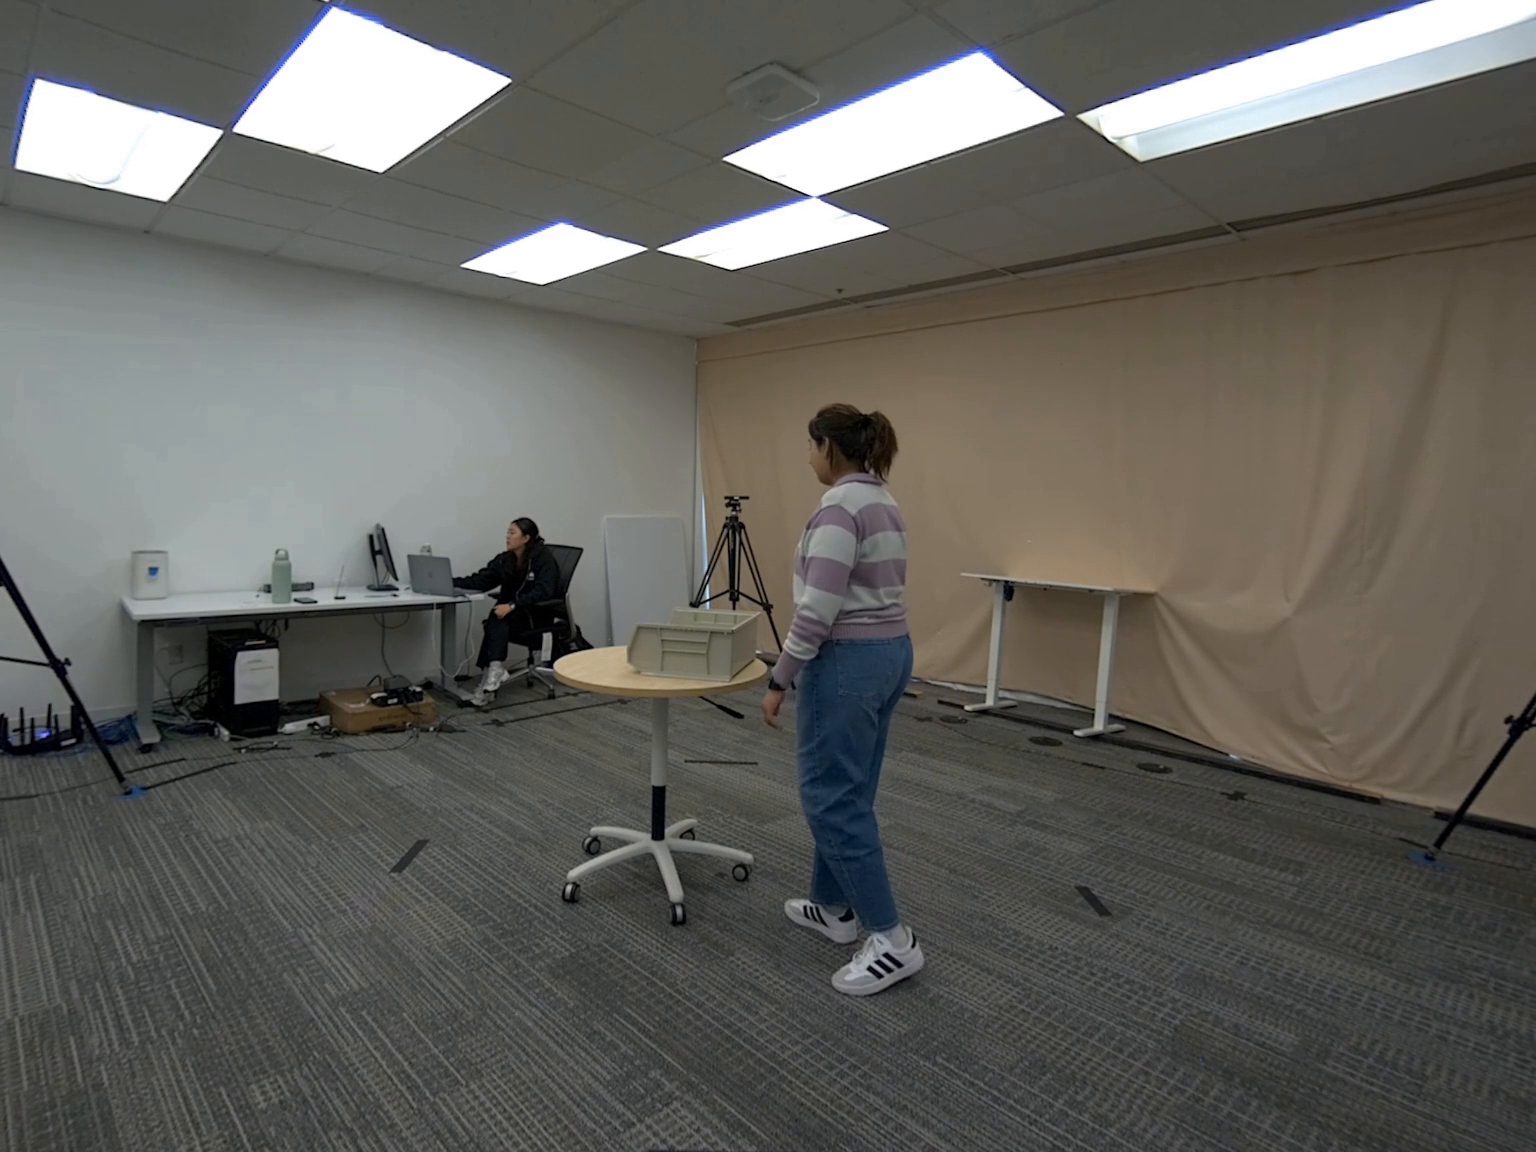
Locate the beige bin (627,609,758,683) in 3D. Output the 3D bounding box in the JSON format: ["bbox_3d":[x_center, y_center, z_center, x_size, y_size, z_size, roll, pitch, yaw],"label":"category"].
[{"bbox_3d":[-0.279,0.238,3.014,0.382,0.188,0.419,5,6,13],"label":"beige bin"}]
